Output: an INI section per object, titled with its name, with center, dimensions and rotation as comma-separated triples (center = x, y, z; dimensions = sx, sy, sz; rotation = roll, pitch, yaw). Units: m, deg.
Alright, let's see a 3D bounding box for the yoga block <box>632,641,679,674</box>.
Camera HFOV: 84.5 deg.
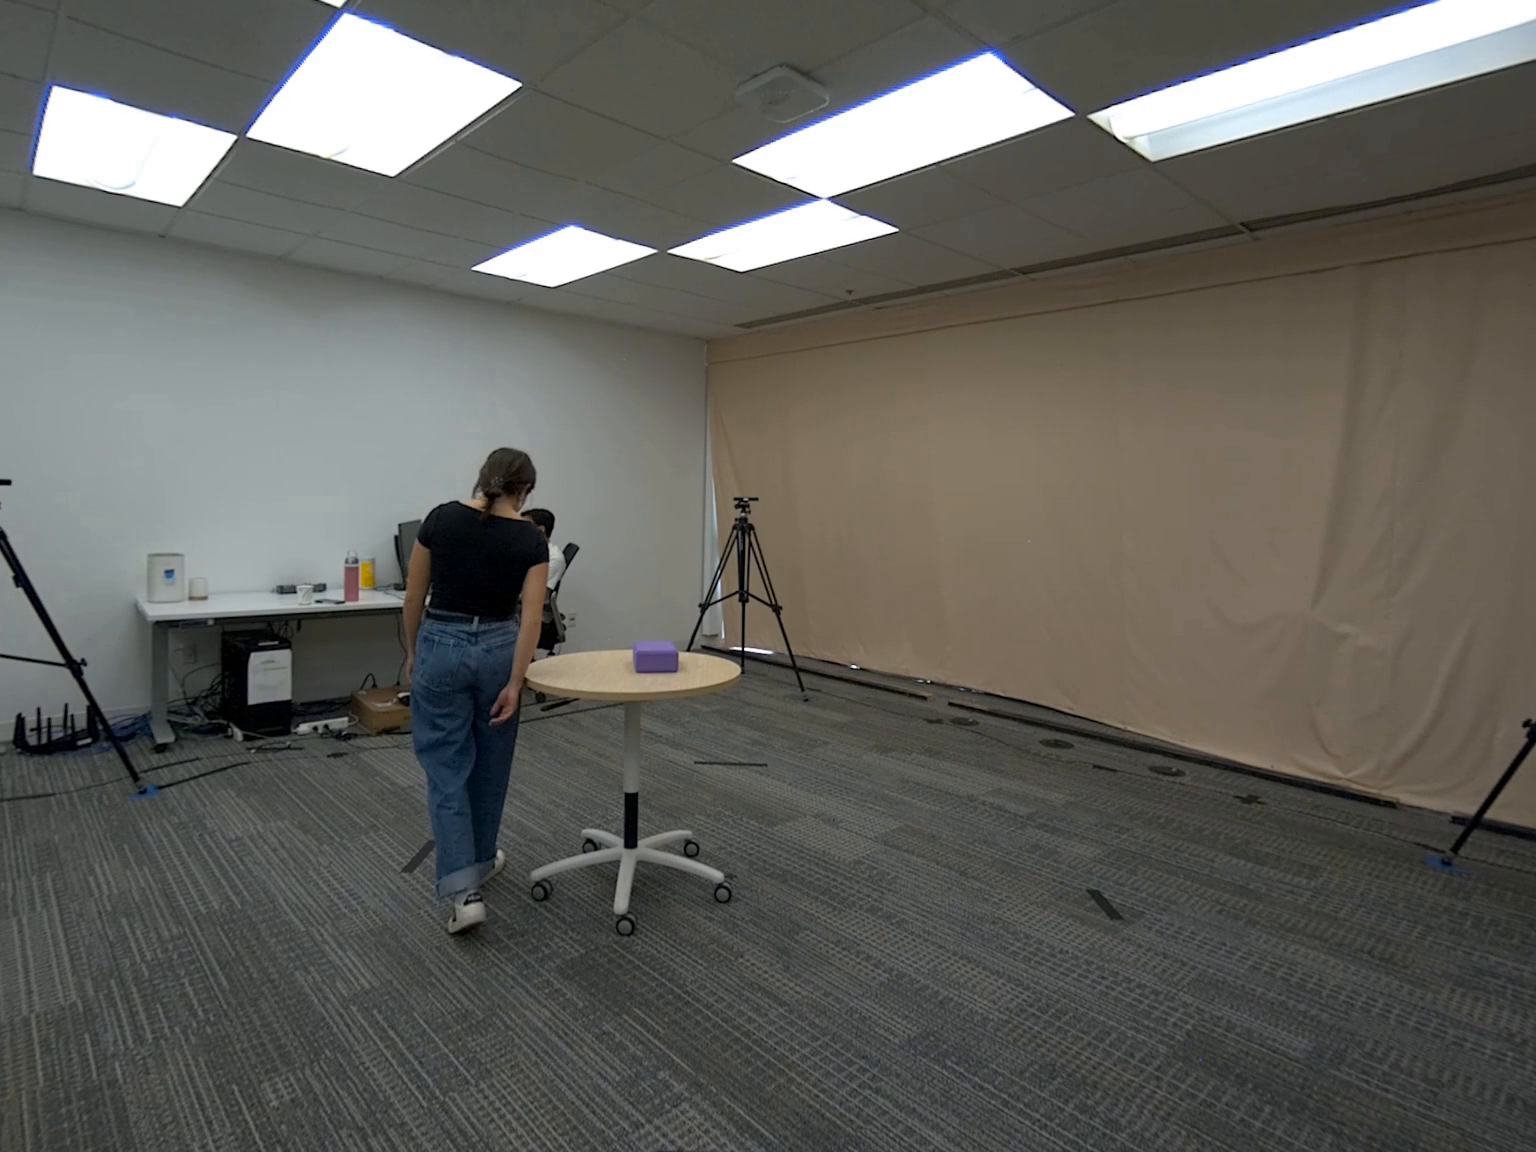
[yoga block]
center = -0.412, 0.292, 3.013
dimensions = 0.148, 0.076, 0.232
rotation = 0, 5, -10
